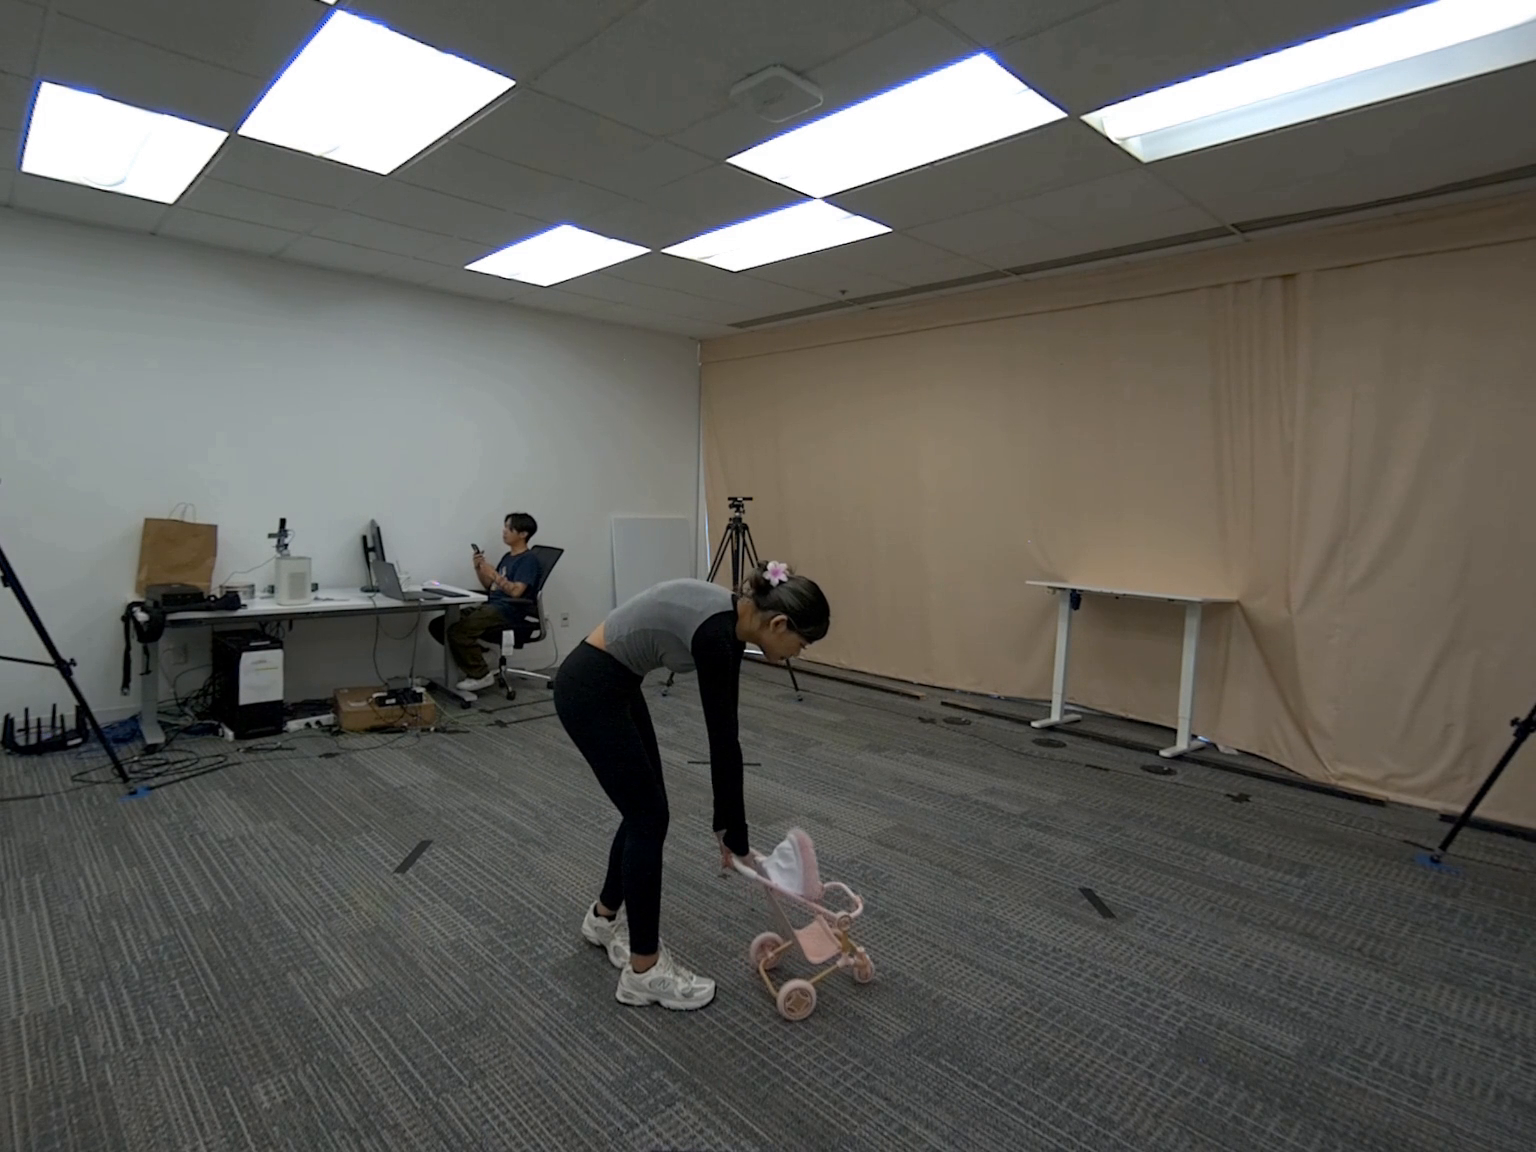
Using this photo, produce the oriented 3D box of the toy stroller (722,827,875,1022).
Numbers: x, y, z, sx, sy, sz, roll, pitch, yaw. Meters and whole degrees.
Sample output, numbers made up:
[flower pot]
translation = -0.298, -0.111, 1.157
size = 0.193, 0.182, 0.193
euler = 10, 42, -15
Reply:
[toy stroller]
translation = 0.100, 0.952, 2.380
size = 0.339, 0.532, 0.285
euler = -14, 7, -11
